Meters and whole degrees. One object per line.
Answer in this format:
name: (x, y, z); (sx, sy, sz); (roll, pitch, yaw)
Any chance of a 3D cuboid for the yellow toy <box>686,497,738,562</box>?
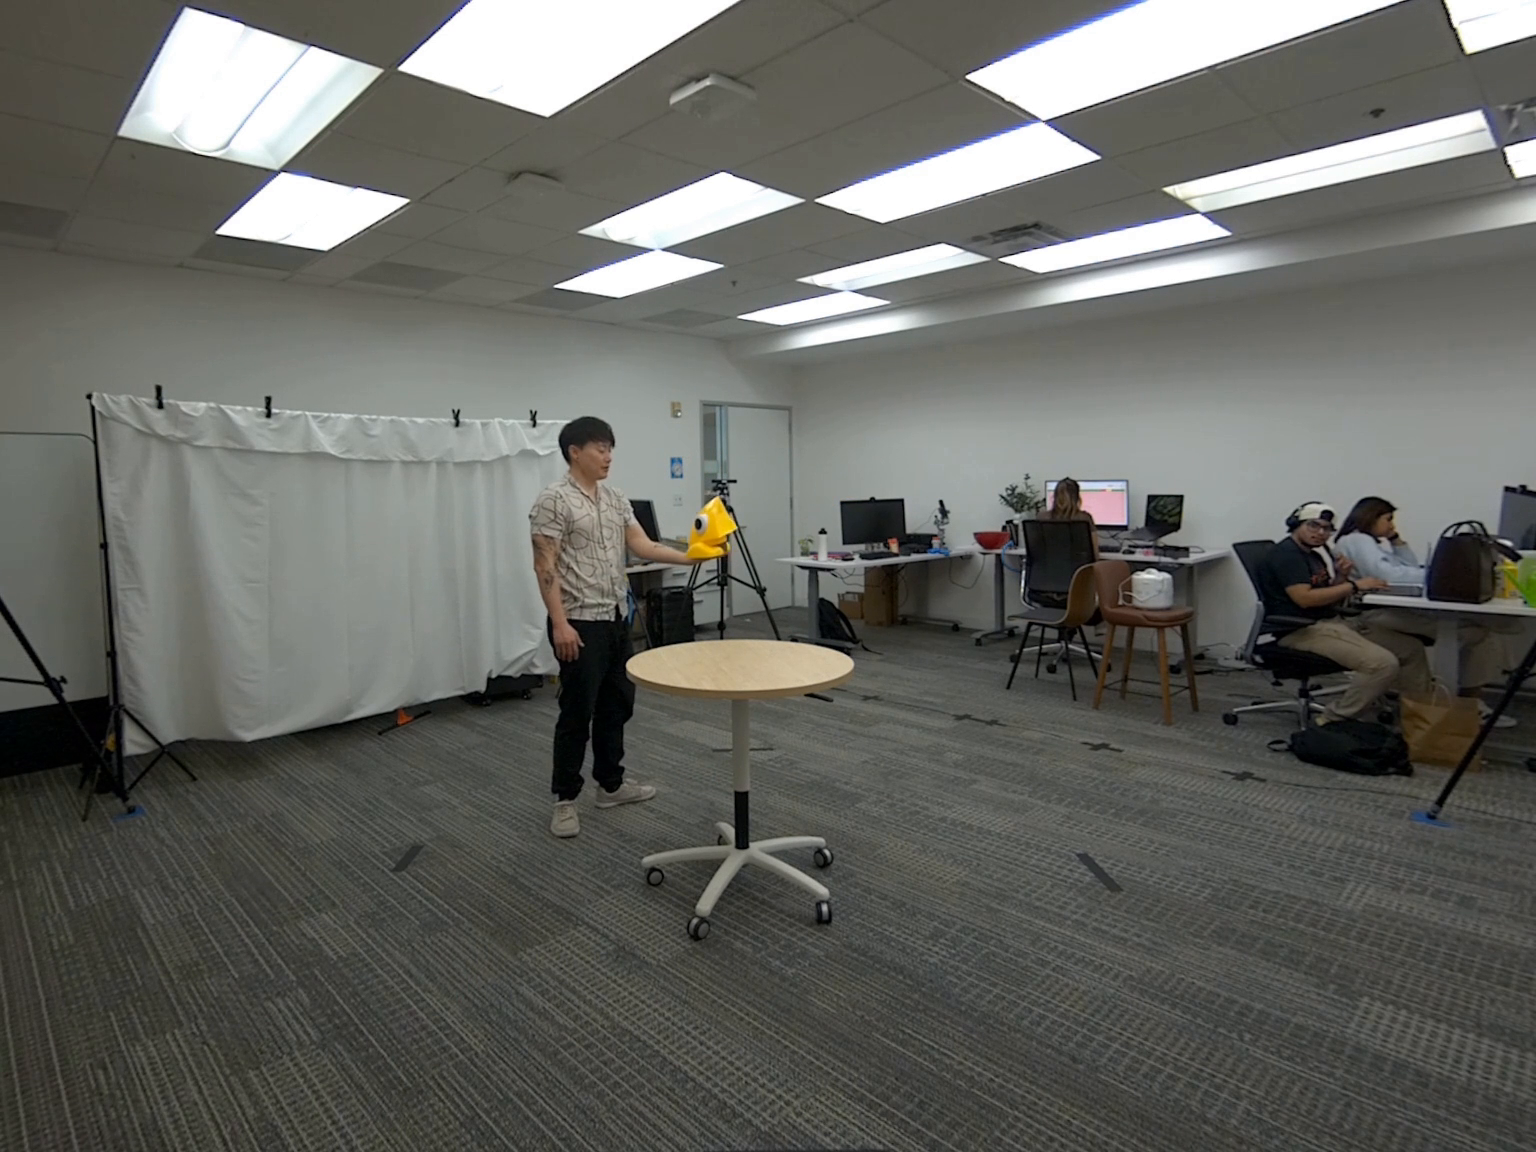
yellow toy: (-0.251, -0.207, 3.496); (0.197, 0.228, 0.203); (-2, 12, 22)
